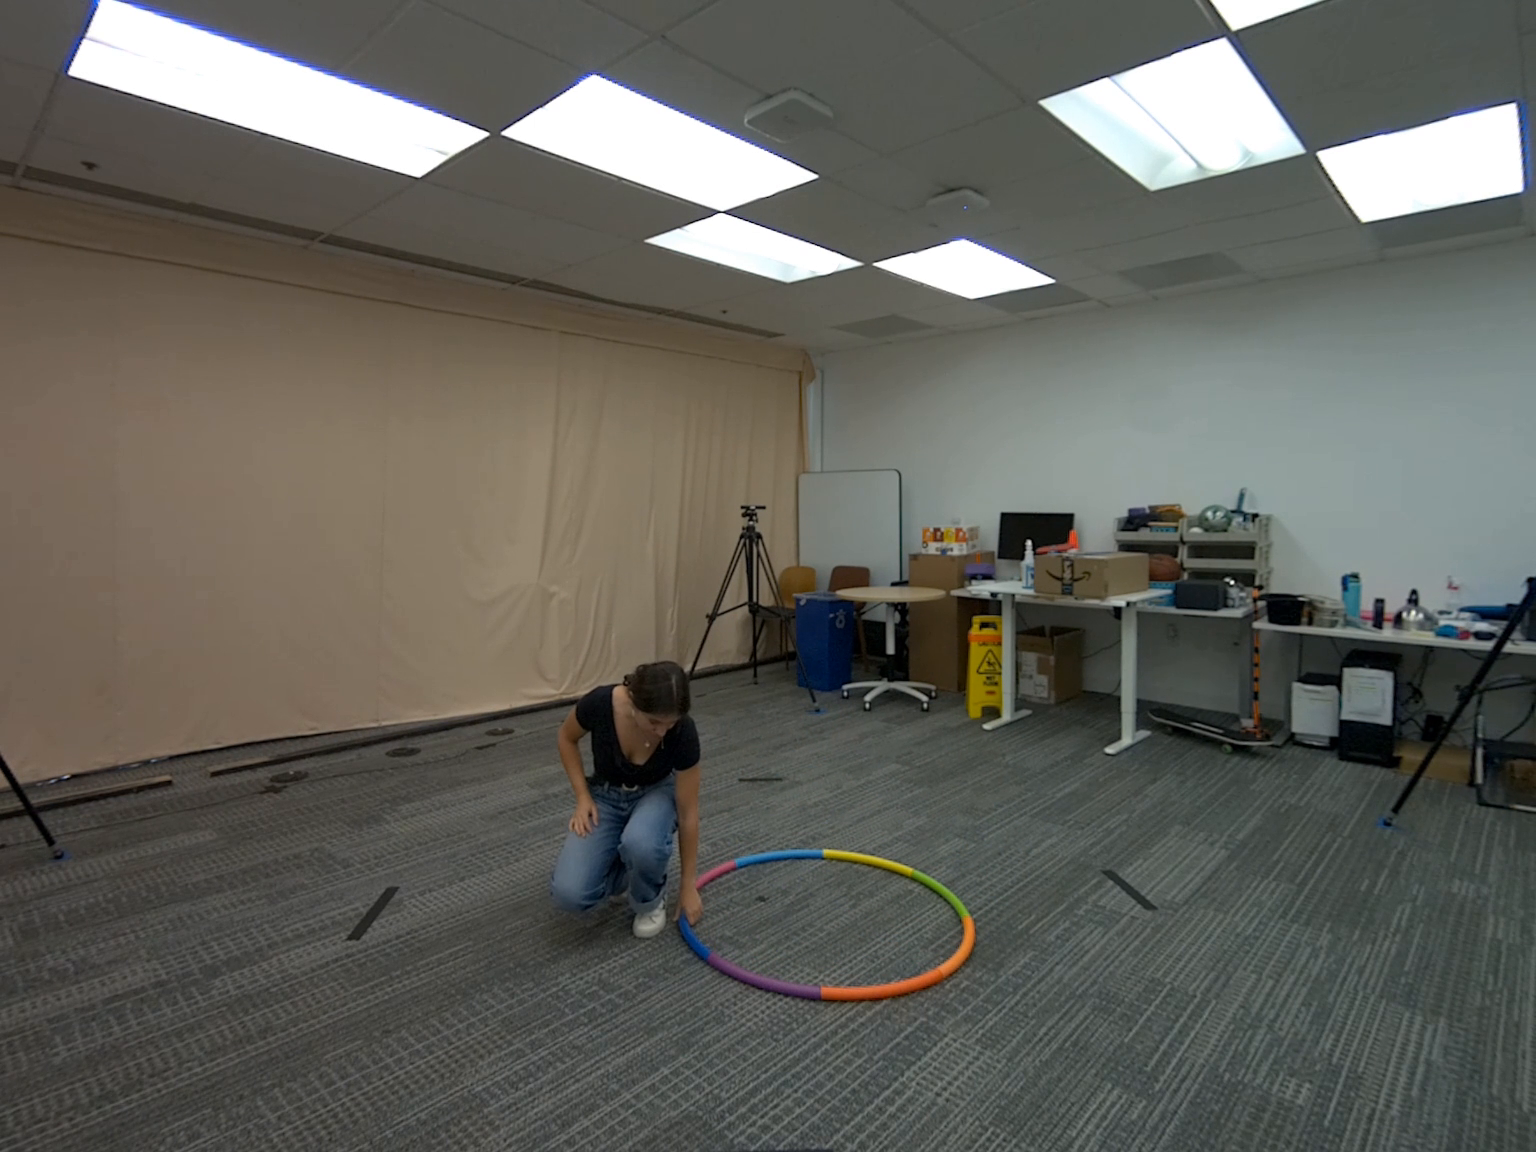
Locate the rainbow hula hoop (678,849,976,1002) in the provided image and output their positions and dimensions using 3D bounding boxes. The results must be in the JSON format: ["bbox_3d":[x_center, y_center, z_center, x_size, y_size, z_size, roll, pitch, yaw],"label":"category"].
[{"bbox_3d":[0.190,1.124,2.851,0.978,0.035,0.982,0,5,-2],"label":"rainbow hula hoop"}]
